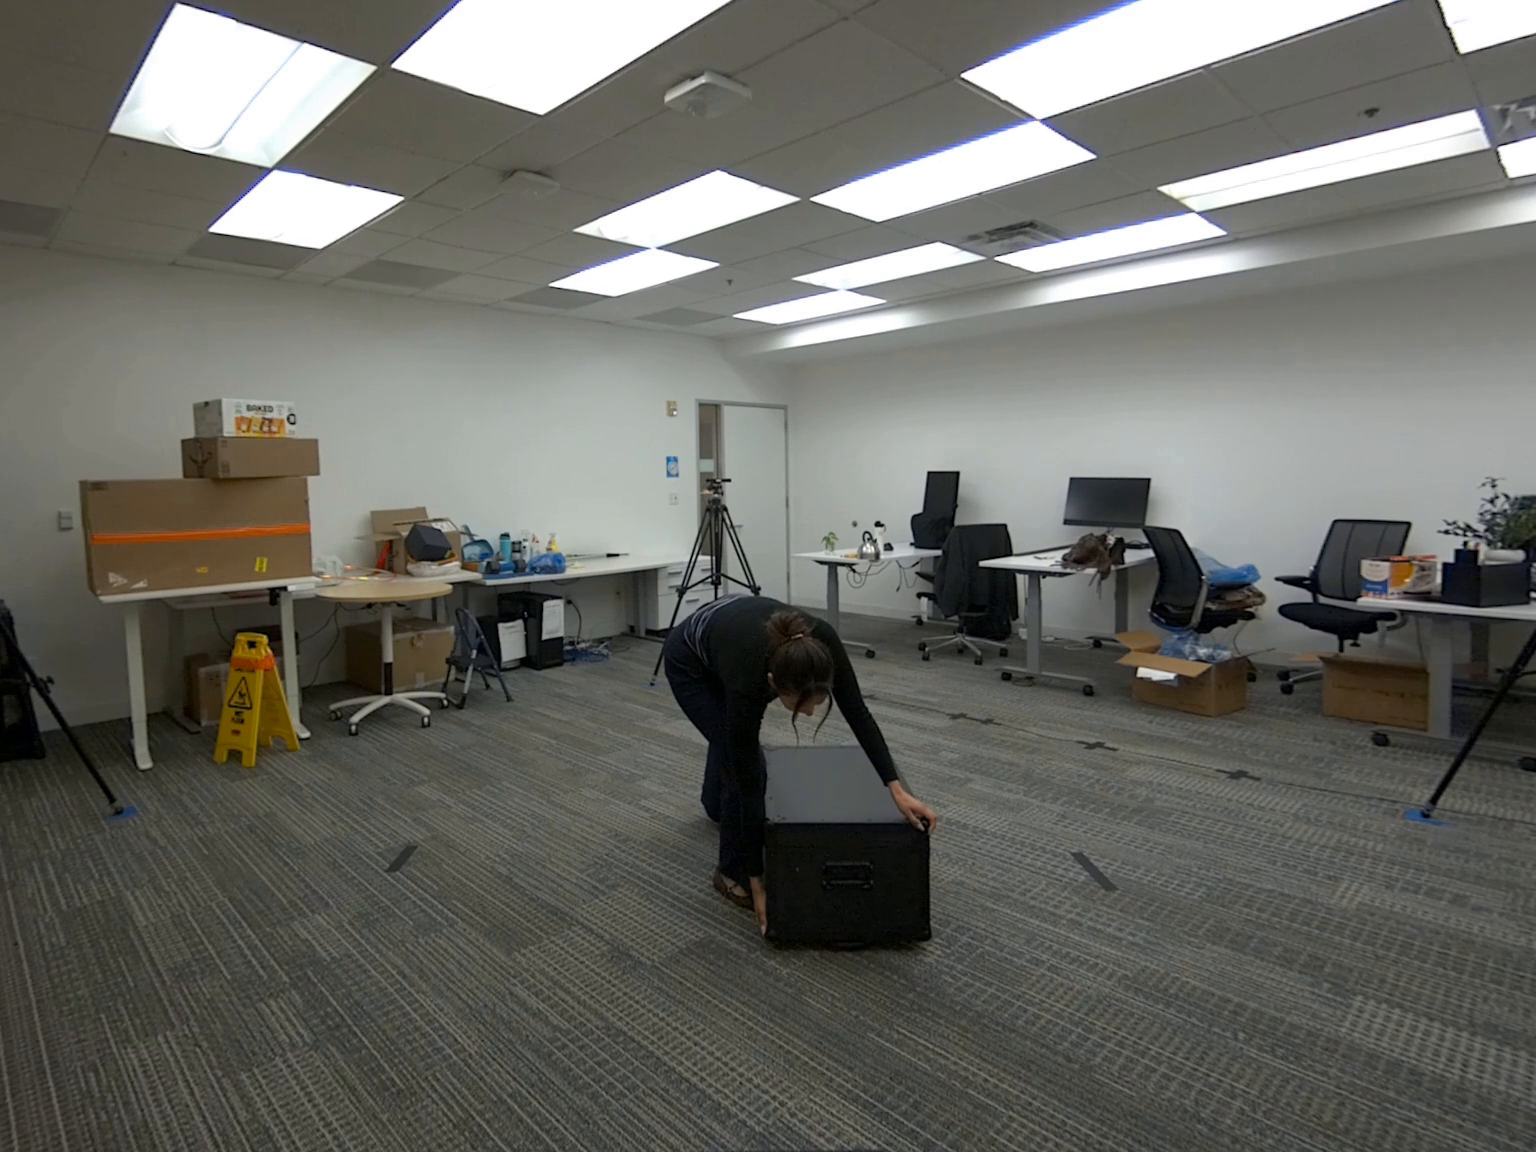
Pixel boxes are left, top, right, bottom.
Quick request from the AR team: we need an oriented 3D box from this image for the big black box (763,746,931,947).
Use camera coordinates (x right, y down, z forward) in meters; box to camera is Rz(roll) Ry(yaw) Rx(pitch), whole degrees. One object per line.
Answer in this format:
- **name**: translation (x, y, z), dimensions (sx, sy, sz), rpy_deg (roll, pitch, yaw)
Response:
- **big black box**: translation (0.228, 0.863, 2.918), dimensions (0.521, 0.395, 0.864), rpy_deg (-2, 5, -1)
